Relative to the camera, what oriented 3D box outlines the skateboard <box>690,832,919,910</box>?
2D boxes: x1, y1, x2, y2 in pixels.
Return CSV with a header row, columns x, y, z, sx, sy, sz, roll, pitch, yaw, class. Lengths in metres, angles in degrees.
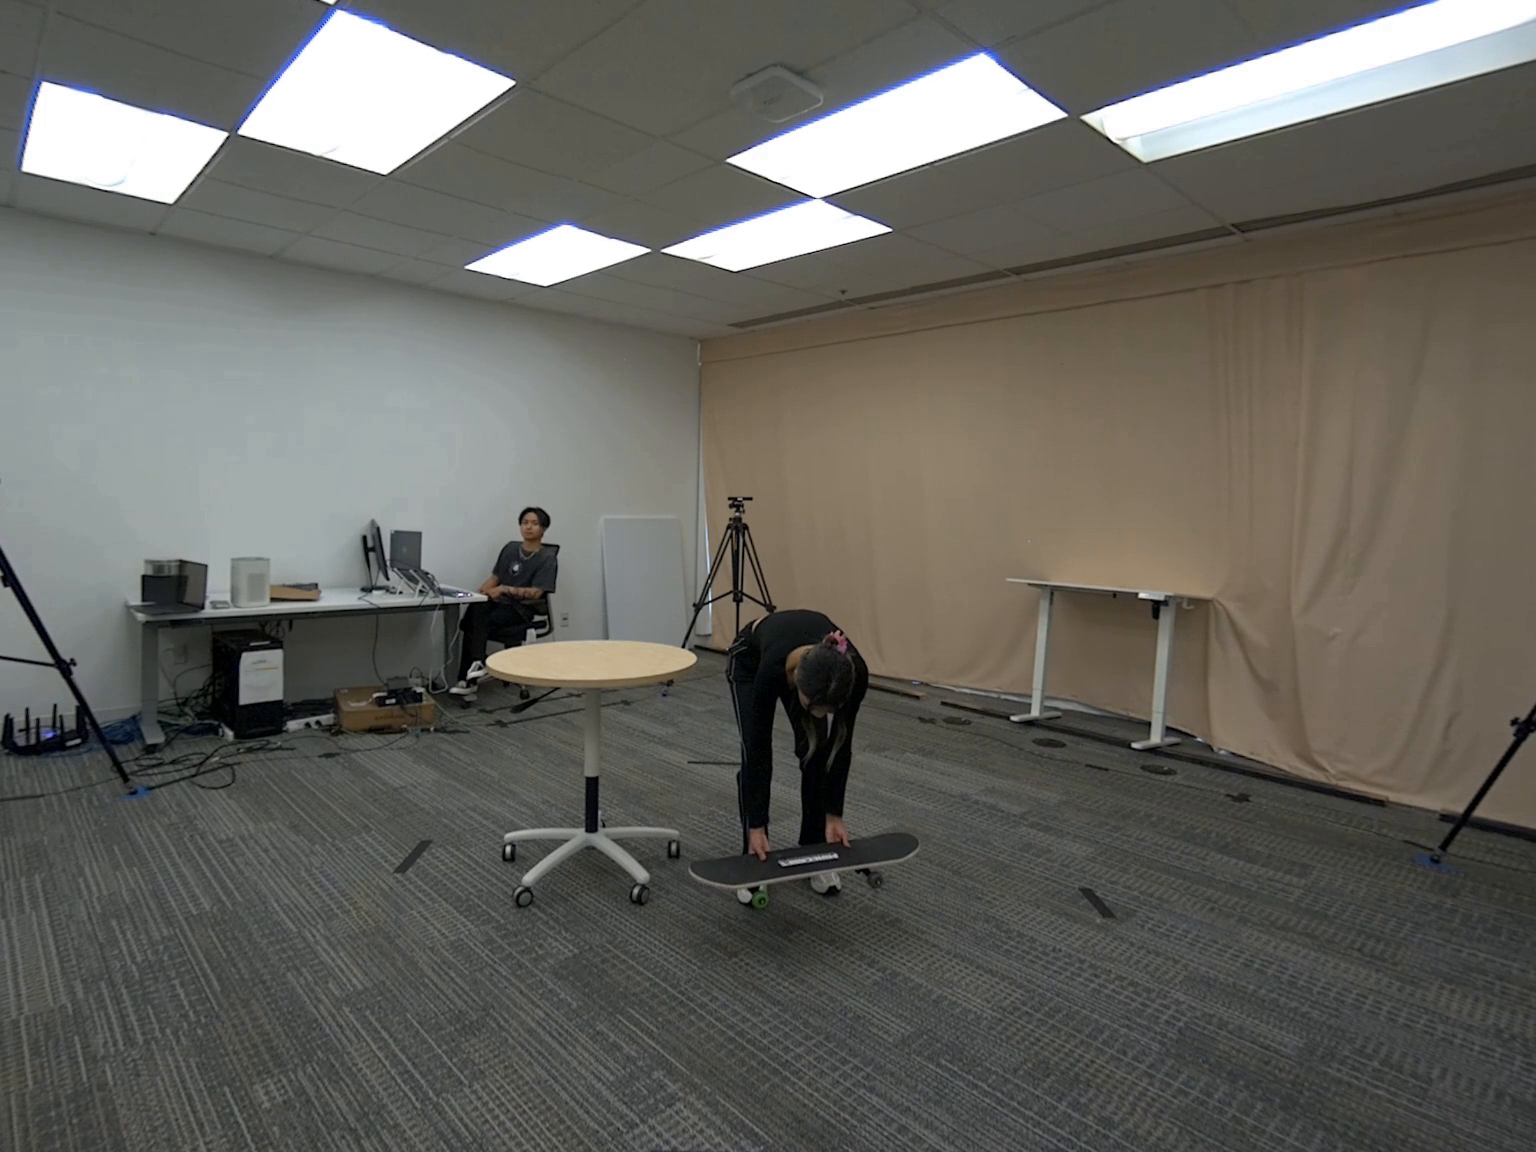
x,y,z,sx,sy,sz,roll,pitch,yaw,class
0.126,0.927,2.666,0.774,0.110,0.197,-1,4,-20,skateboard
